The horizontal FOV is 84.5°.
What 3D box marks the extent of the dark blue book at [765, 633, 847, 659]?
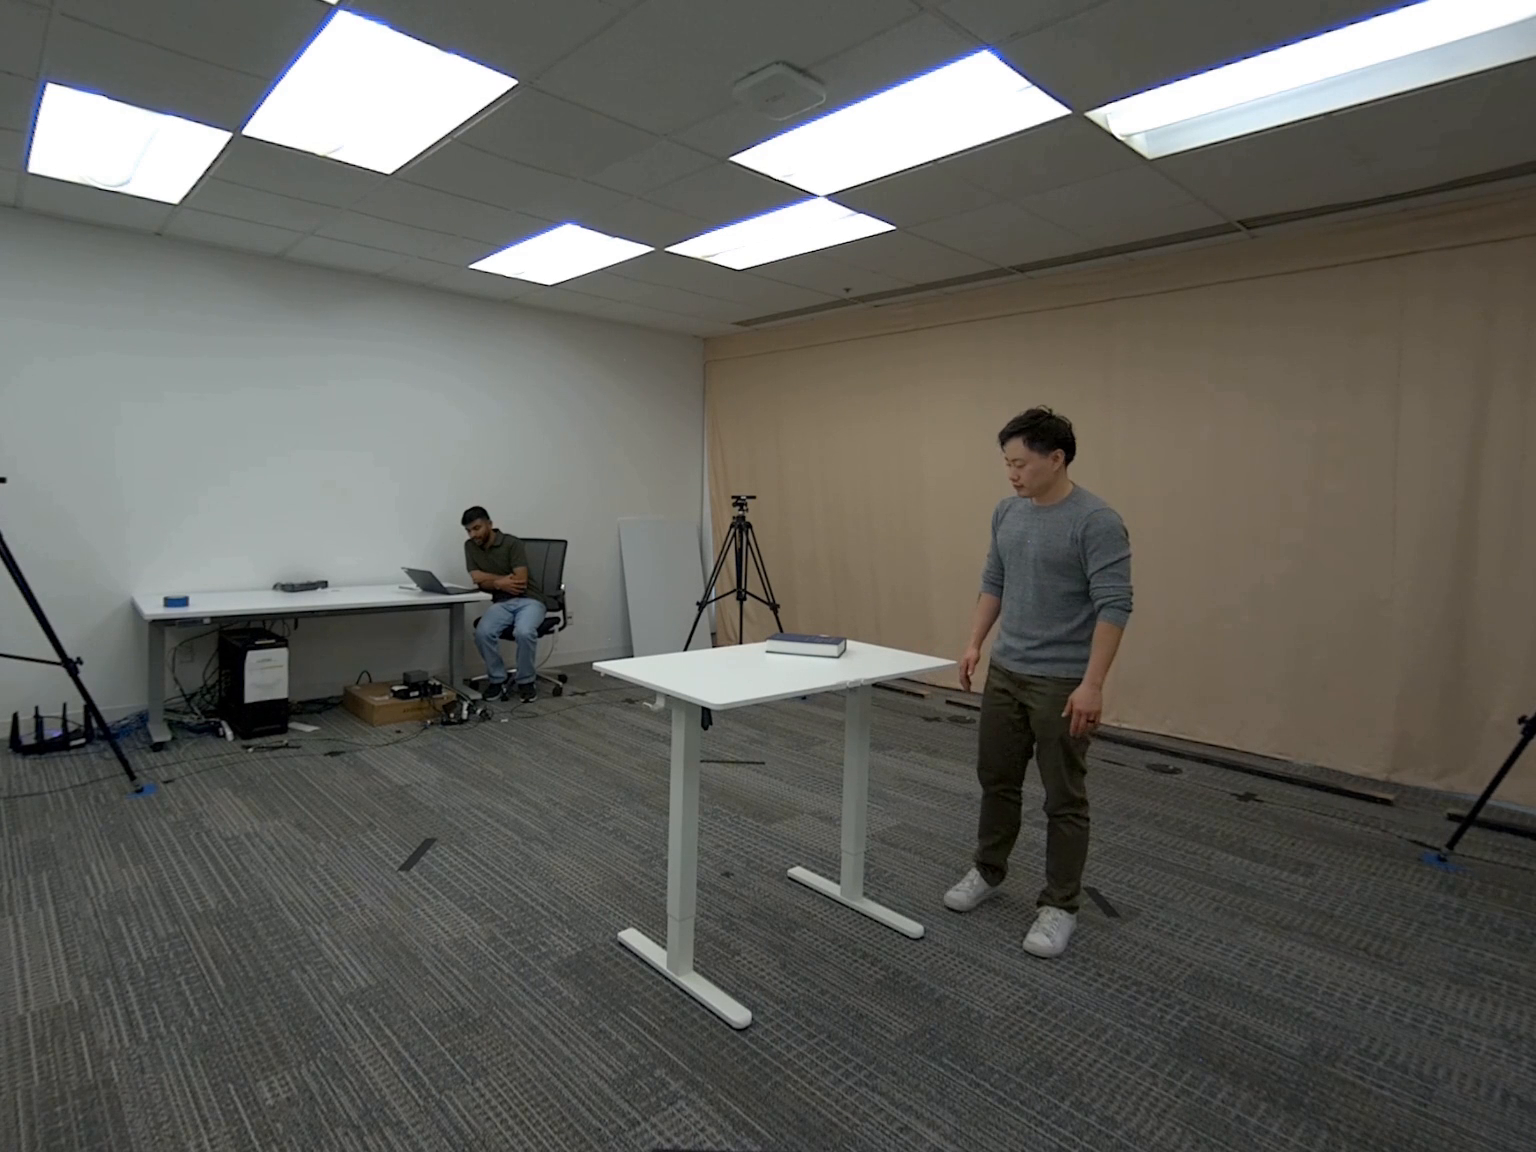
[{"bbox_3d":[0.126,0.231,2.820,0.248,0.045,0.161,3,5,17],"label":"dark blue book"}]
